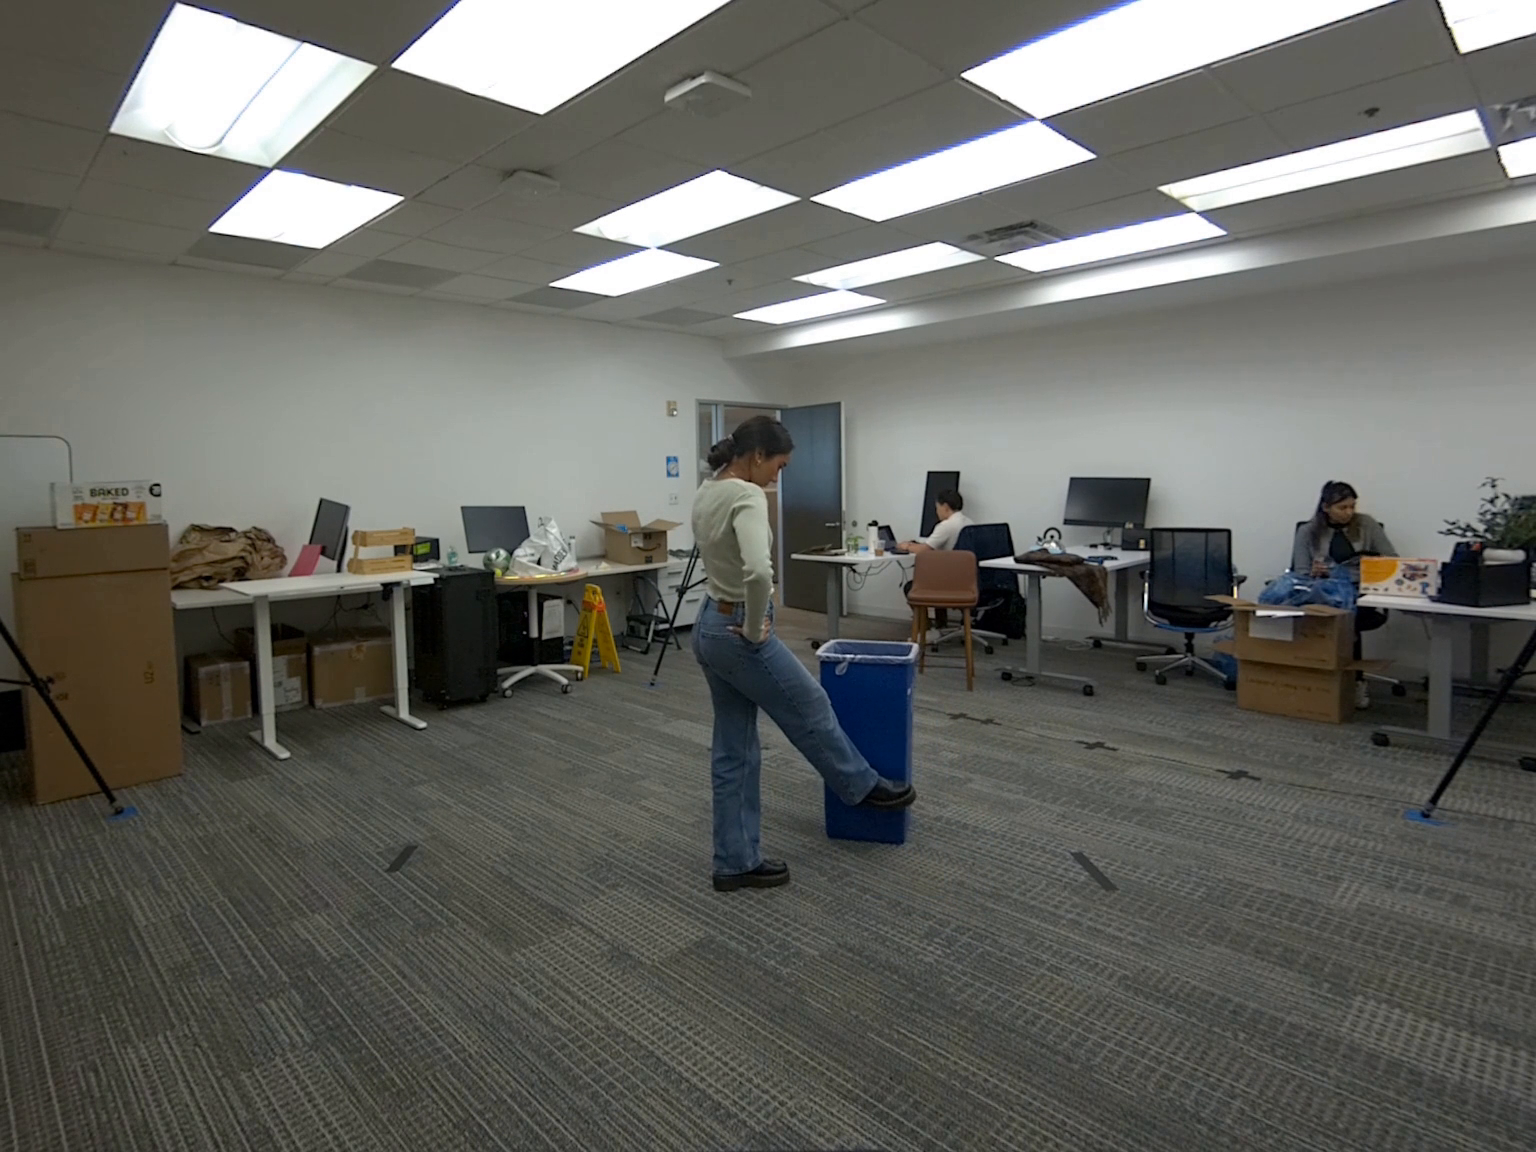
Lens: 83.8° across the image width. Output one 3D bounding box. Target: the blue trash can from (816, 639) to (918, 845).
[{"bbox_3d":[0.411,0.643,3.409,0.380,0.712,0.373,-1,2,15],"label":"blue trash can"}]
